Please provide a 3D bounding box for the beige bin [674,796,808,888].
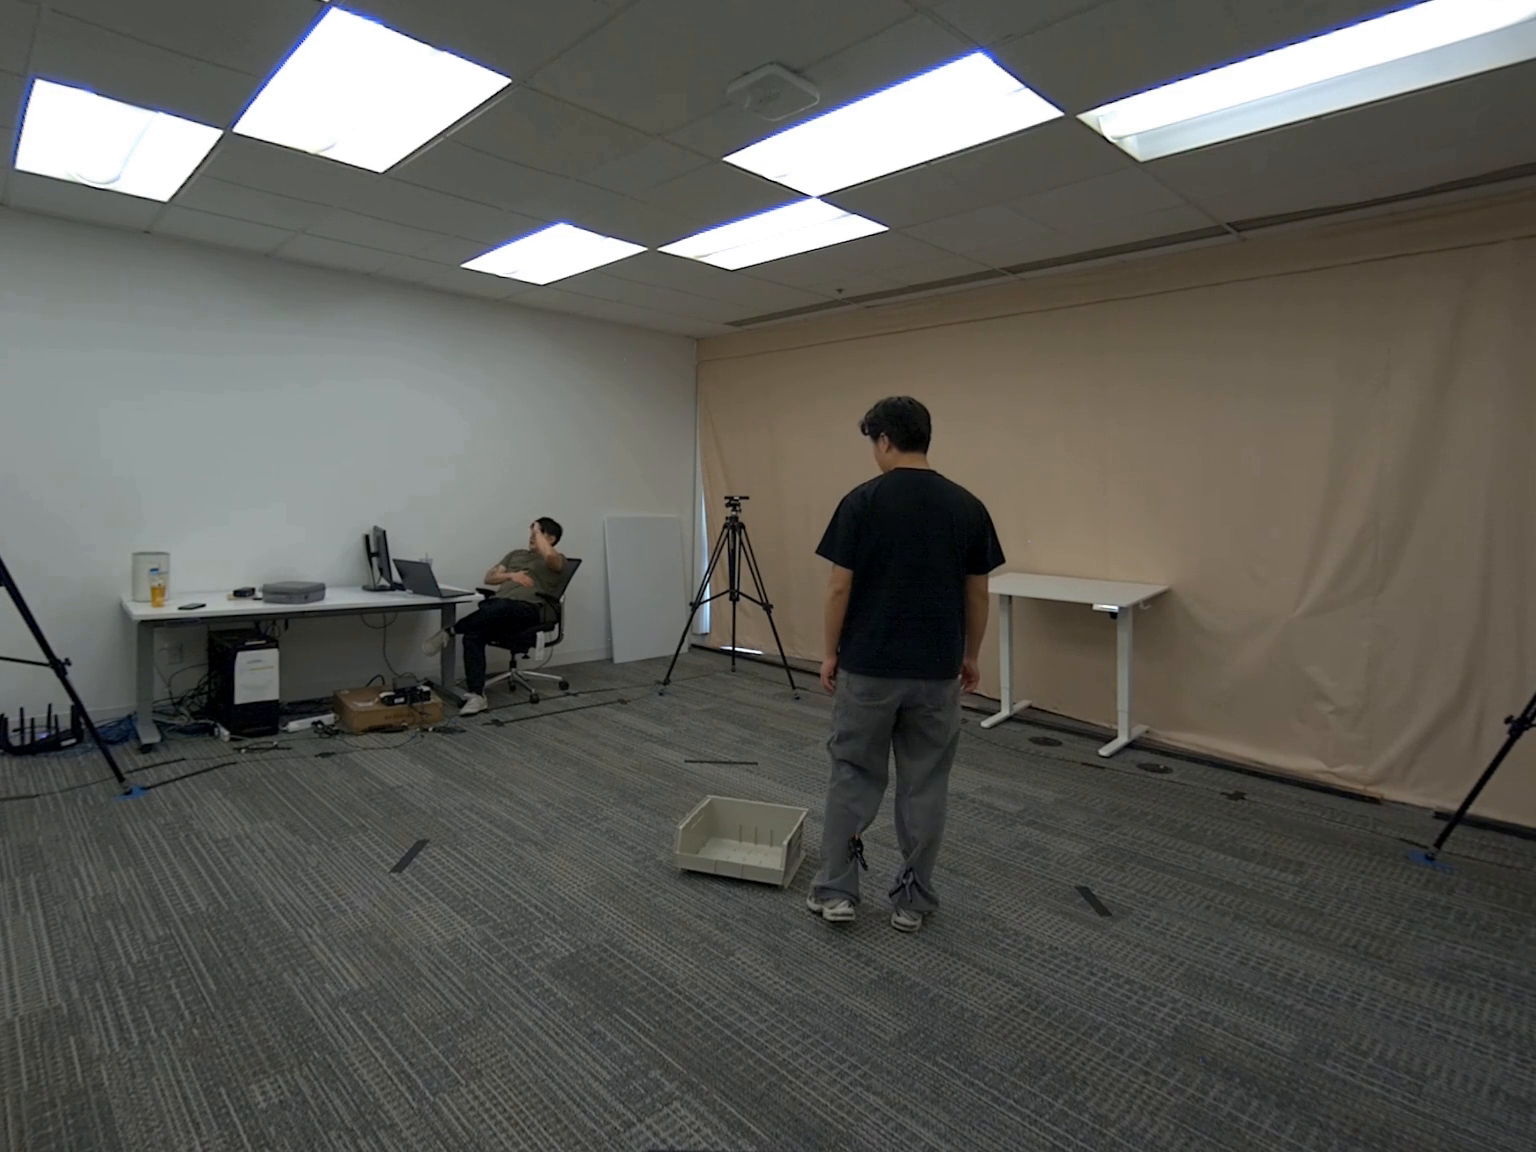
[{"bbox_3d":[-0.098,1.009,3.188,0.428,0.188,0.373,2,4,17],"label":"beige bin"}]
